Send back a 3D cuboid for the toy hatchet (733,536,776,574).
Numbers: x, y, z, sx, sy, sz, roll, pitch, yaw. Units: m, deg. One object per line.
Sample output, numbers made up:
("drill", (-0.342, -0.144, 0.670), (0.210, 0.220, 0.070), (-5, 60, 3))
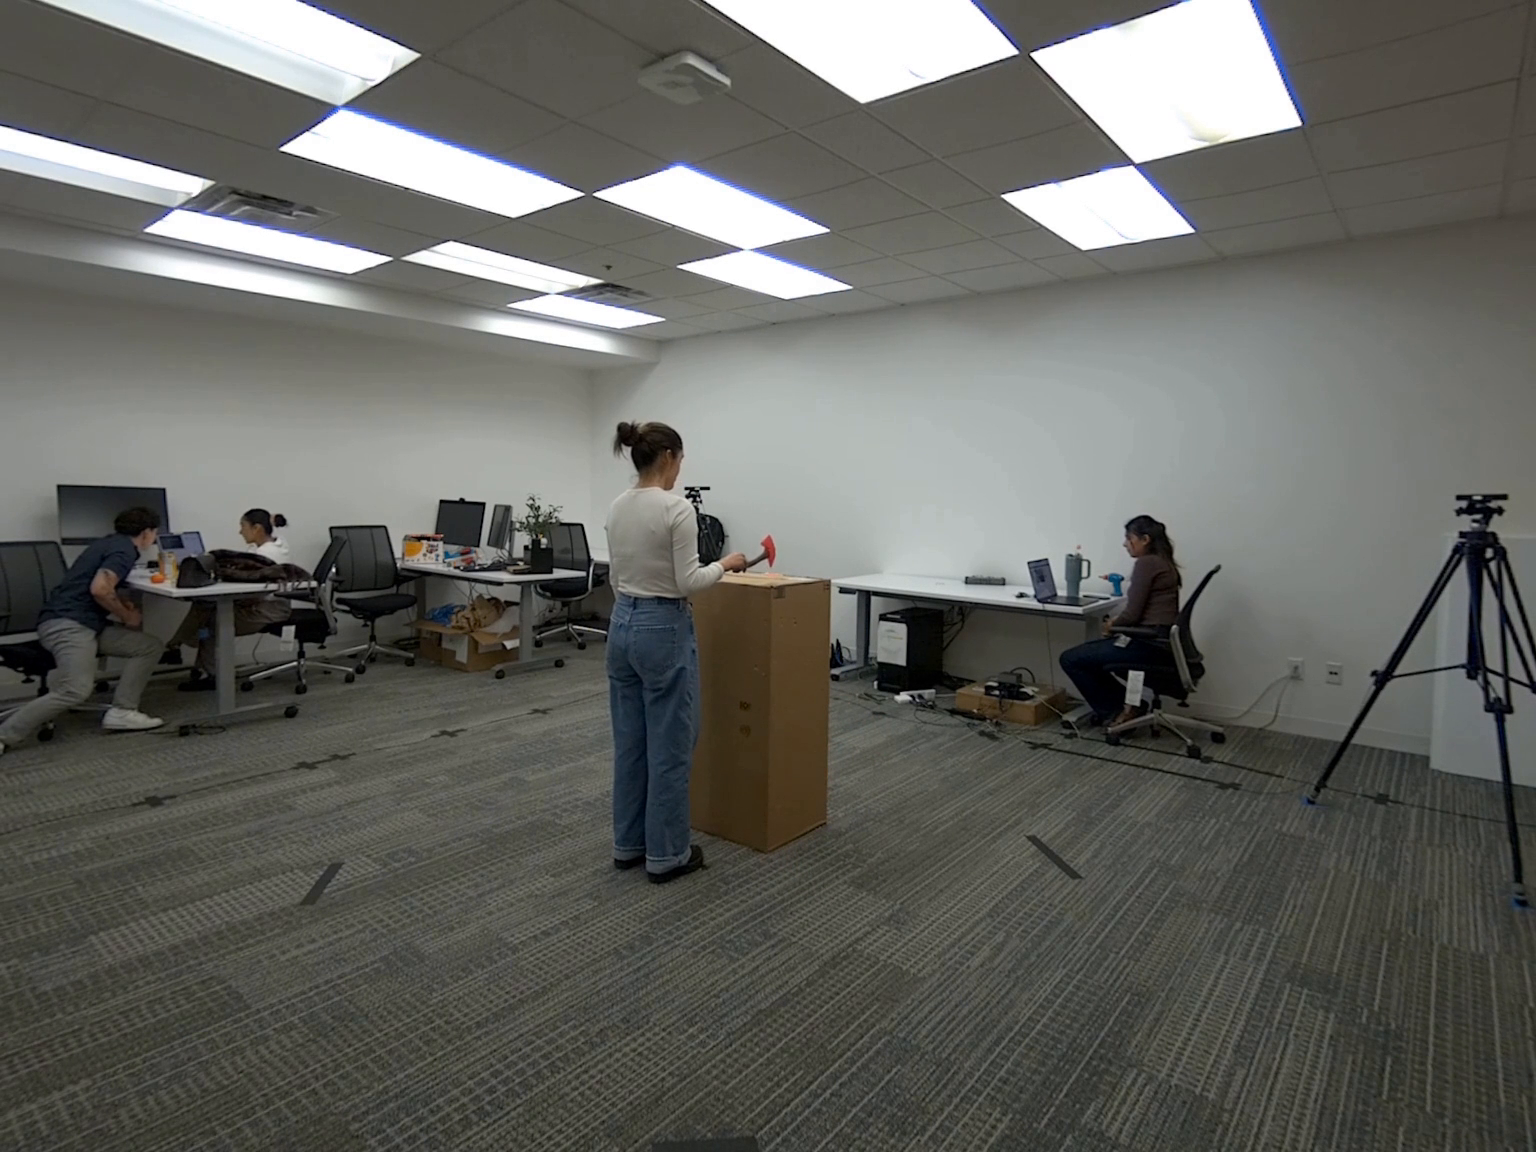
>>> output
("toy hatchet", (-0.056, -0.088, 3.256), (0.030, 0.130, 0.262), (11, 9, 34))
